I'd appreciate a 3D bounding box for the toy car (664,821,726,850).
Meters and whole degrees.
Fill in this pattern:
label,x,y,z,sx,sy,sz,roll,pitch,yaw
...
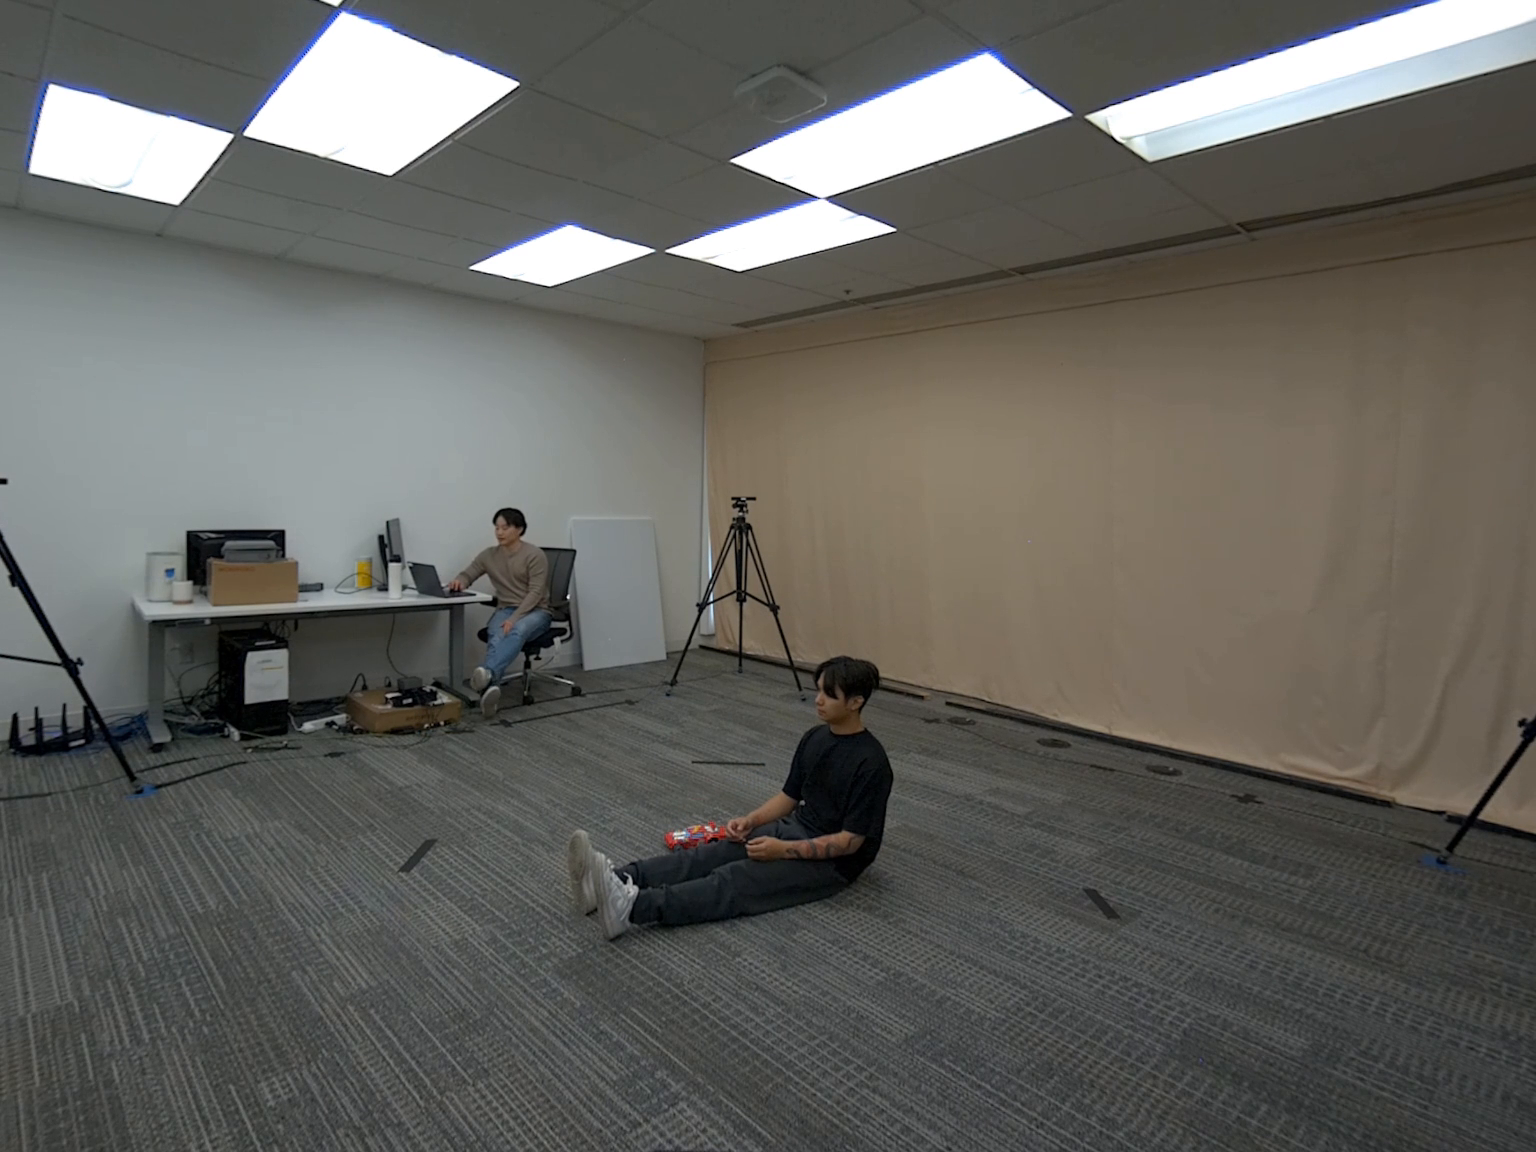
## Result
label,x,y,z,sx,sy,sz,roll,pitch,yaw
toy car,-0.286,1.042,3.364,0.252,0.083,0.132,-12,8,-18
